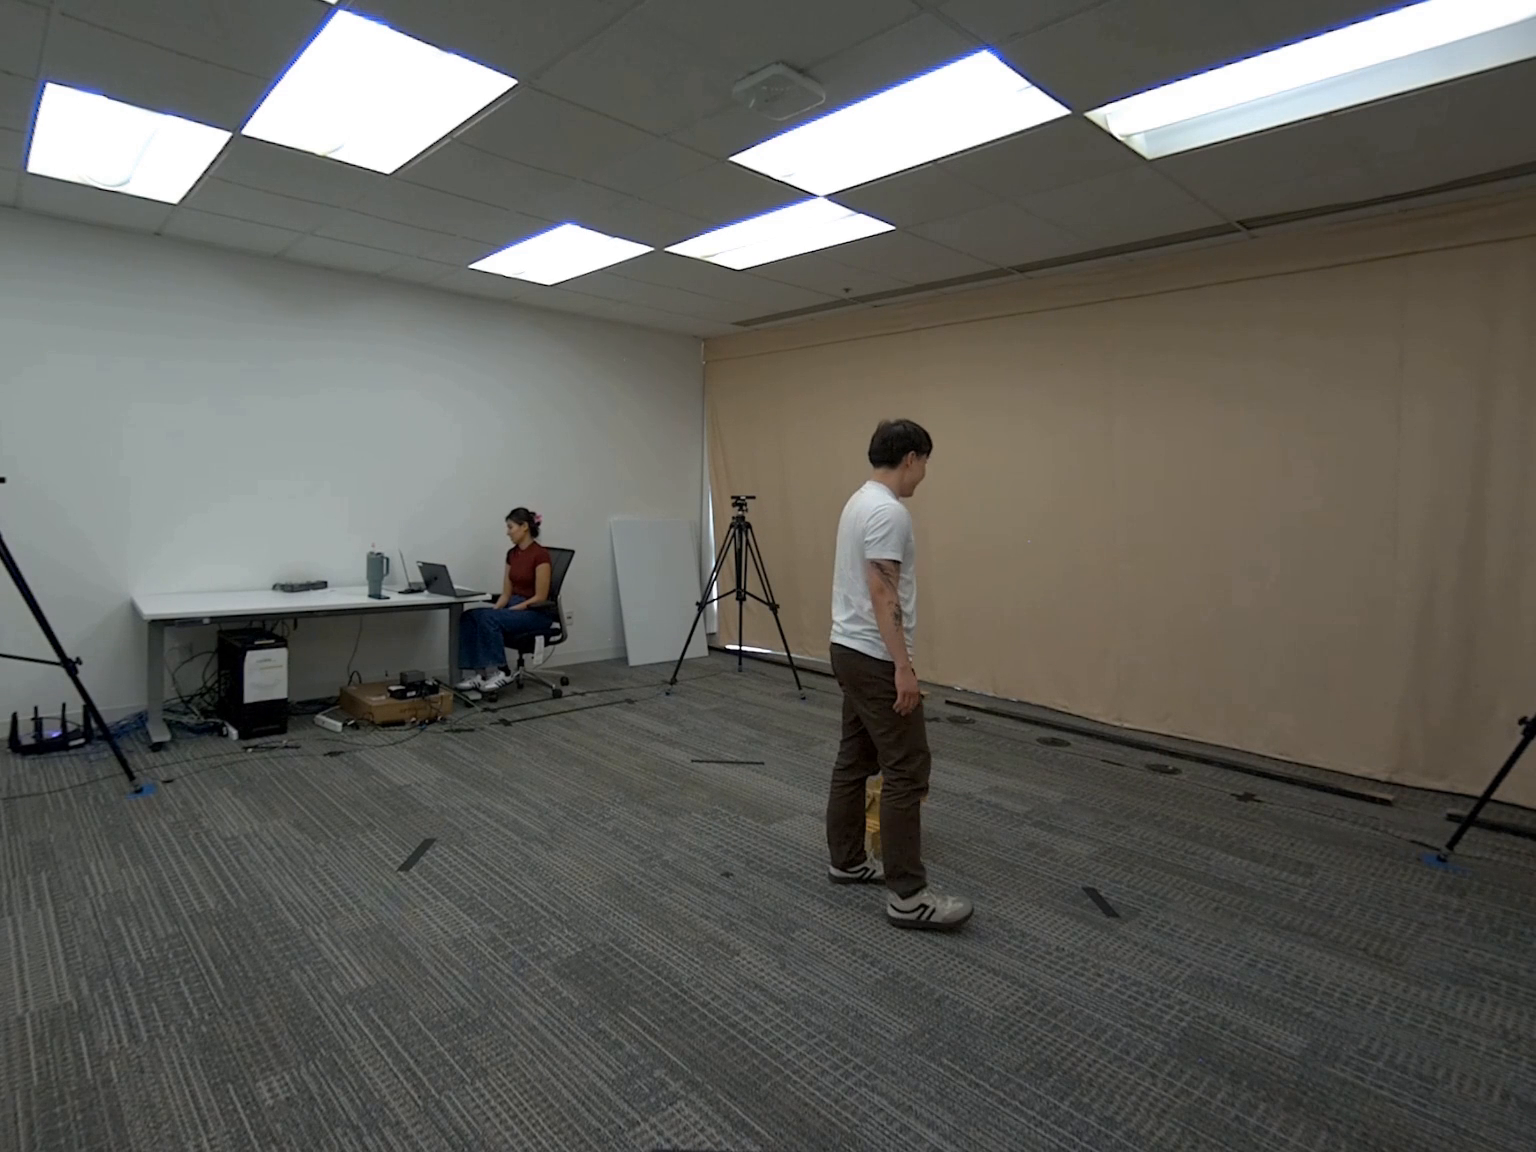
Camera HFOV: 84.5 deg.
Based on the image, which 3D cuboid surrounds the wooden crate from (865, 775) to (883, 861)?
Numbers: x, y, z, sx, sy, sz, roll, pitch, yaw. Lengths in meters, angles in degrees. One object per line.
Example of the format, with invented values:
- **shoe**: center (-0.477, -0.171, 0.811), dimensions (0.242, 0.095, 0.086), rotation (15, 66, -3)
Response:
- **wooden crate**: center (0.430, 0.953, 3.456), dimensions (0.310, 0.272, 0.317), rotation (6, 6, 43)
